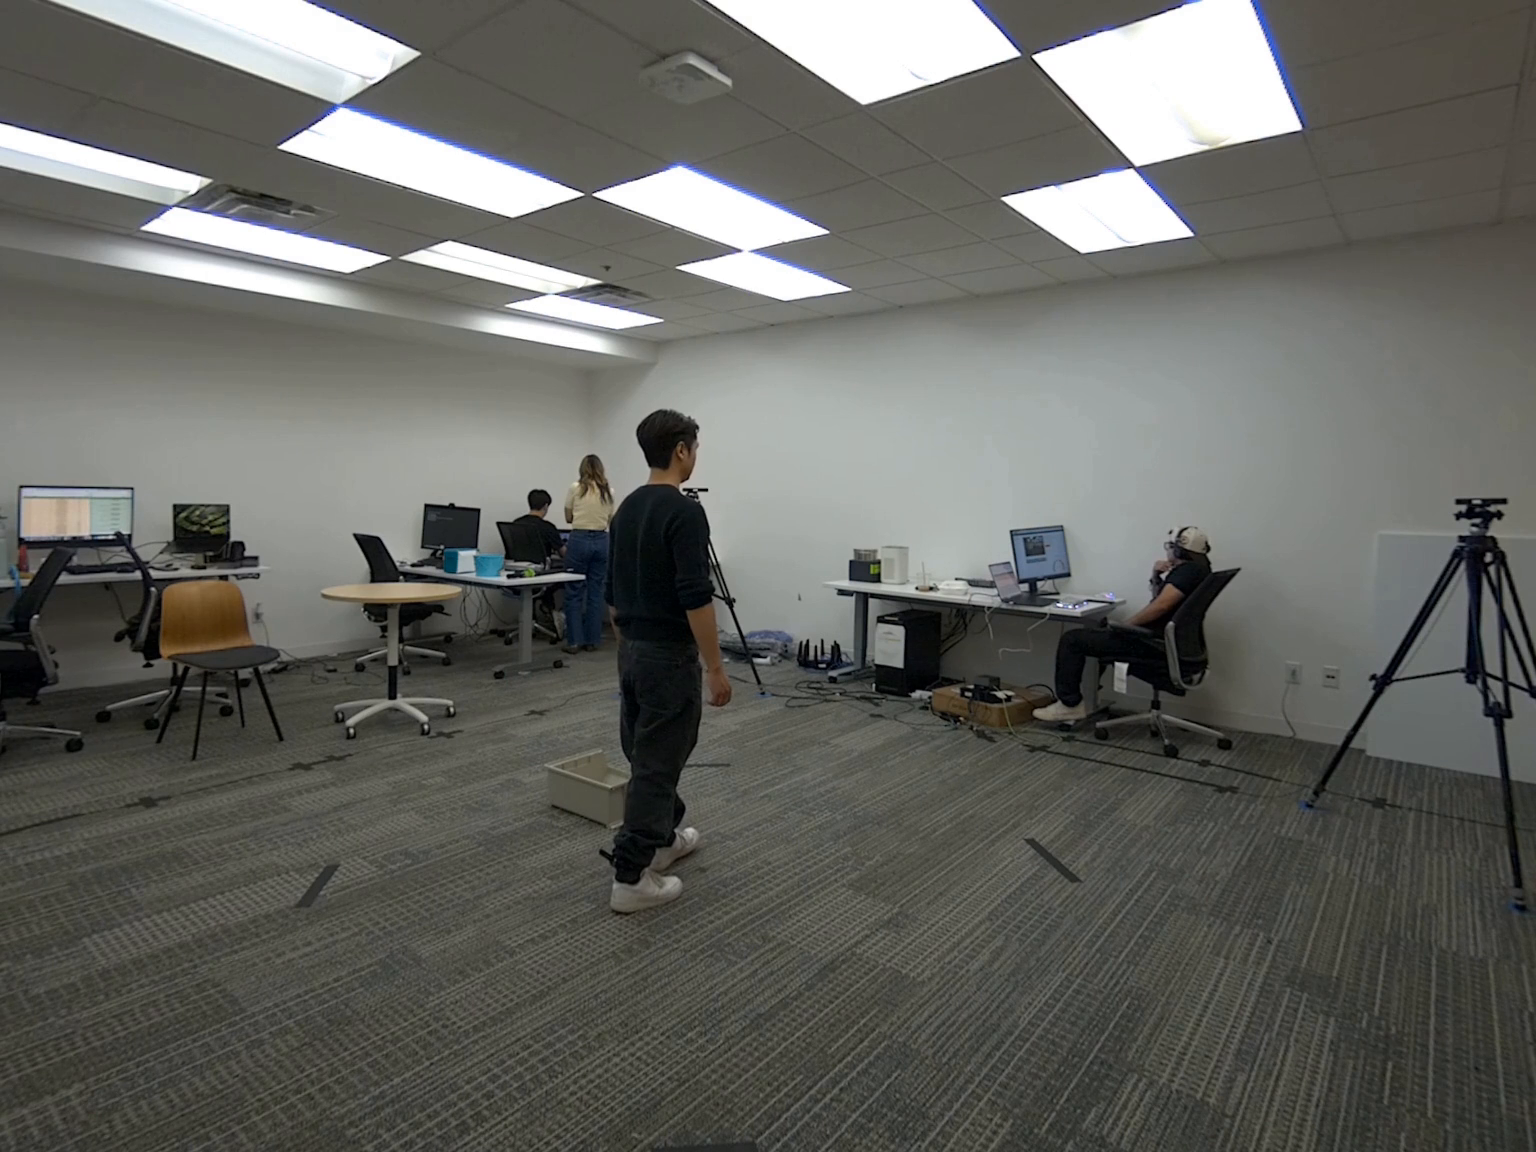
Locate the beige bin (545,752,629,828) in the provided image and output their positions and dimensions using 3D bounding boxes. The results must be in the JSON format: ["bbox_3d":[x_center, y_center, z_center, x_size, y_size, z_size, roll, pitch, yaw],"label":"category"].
[{"bbox_3d":[-0.714,0.914,3.722,0.436,0.188,0.367,6,7,37],"label":"beige bin"}]
